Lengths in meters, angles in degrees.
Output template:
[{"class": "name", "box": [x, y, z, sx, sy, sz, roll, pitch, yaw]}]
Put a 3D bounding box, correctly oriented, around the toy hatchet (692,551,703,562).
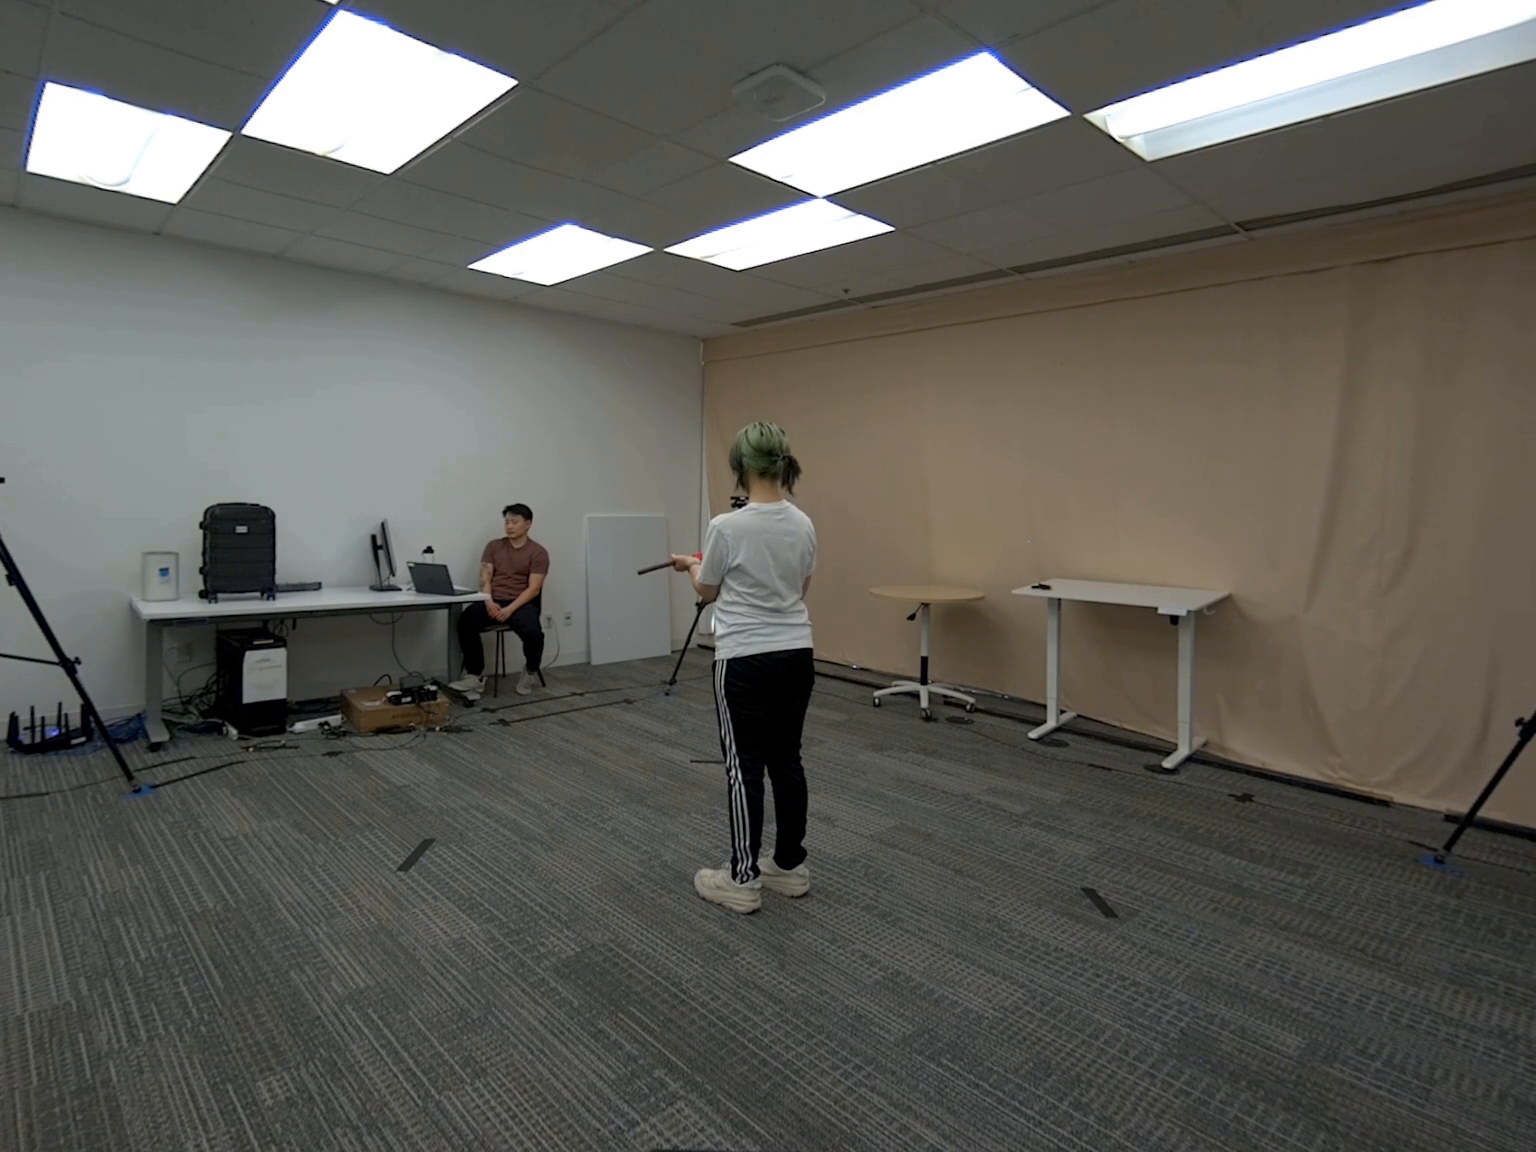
[{"class": "toy hatchet", "box": [-0.359, -0.043, 3.208, 0.269, 0.030, 0.131, -12, -6, -7]}]
